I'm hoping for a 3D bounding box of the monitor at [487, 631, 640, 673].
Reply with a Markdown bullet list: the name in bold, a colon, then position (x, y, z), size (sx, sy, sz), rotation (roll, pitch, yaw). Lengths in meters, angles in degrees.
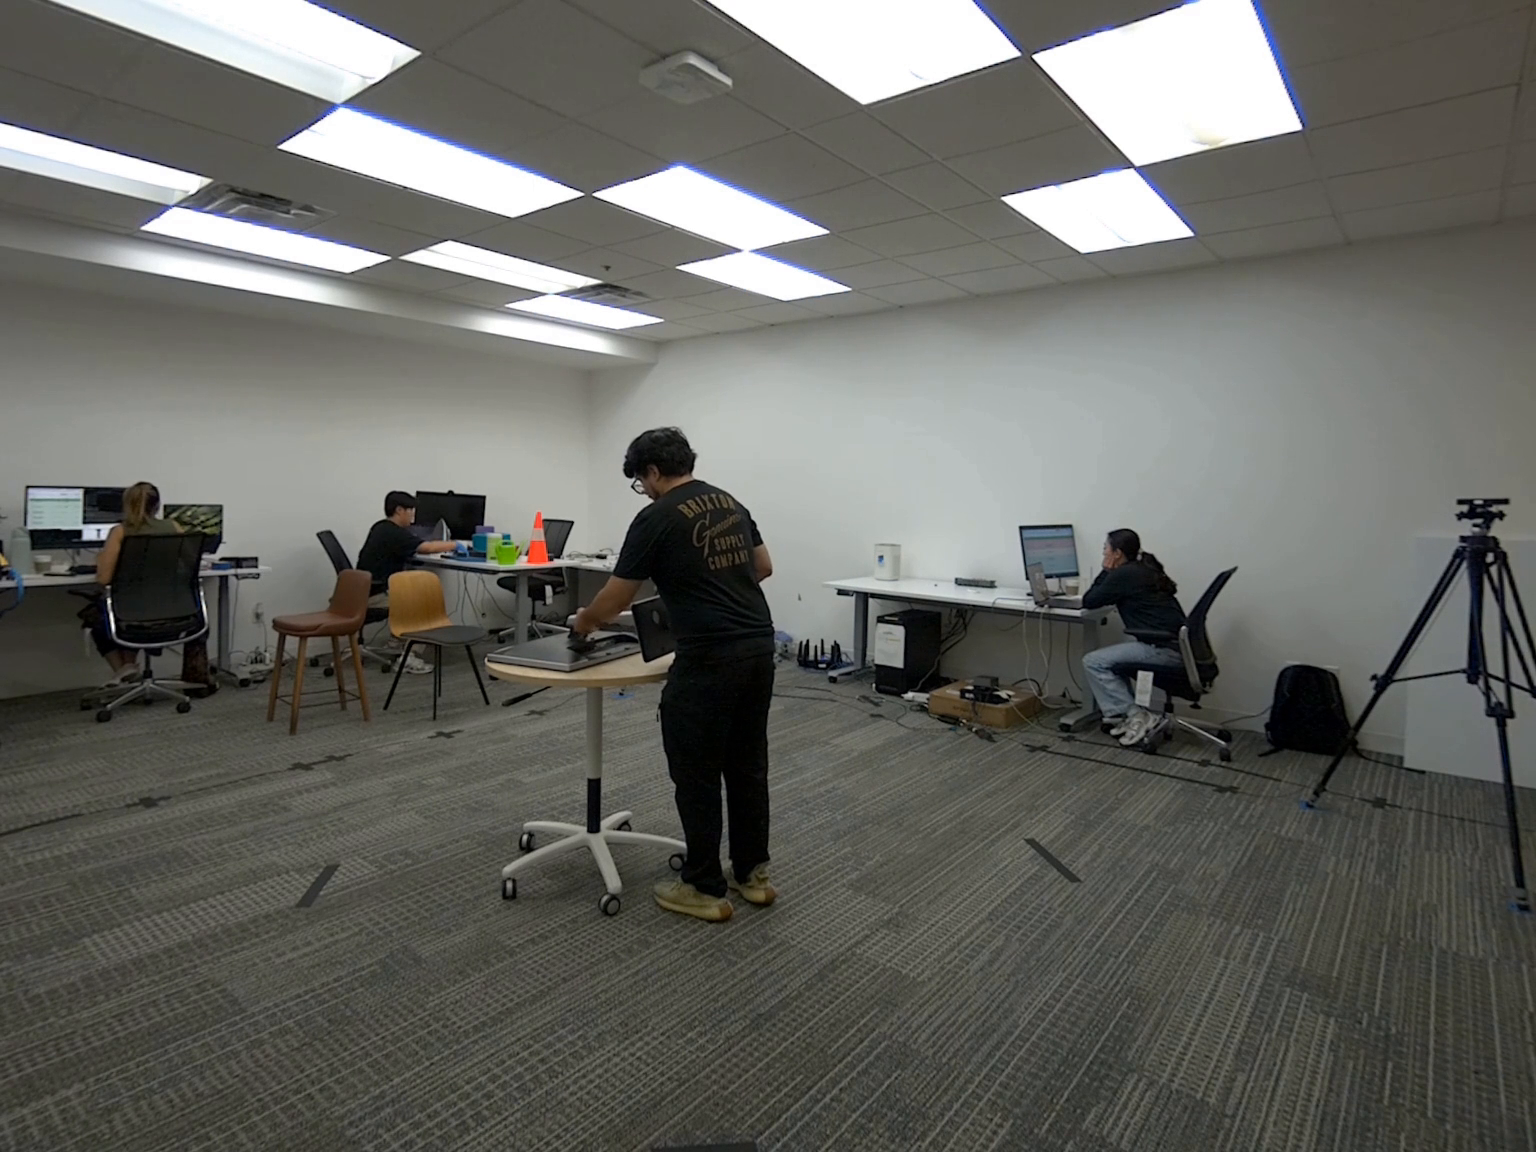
- **monitor**: position (-0.623, 0.190, 3.062), size (0.568, 0.210, 0.552), rotation (-3, 3, 27)
